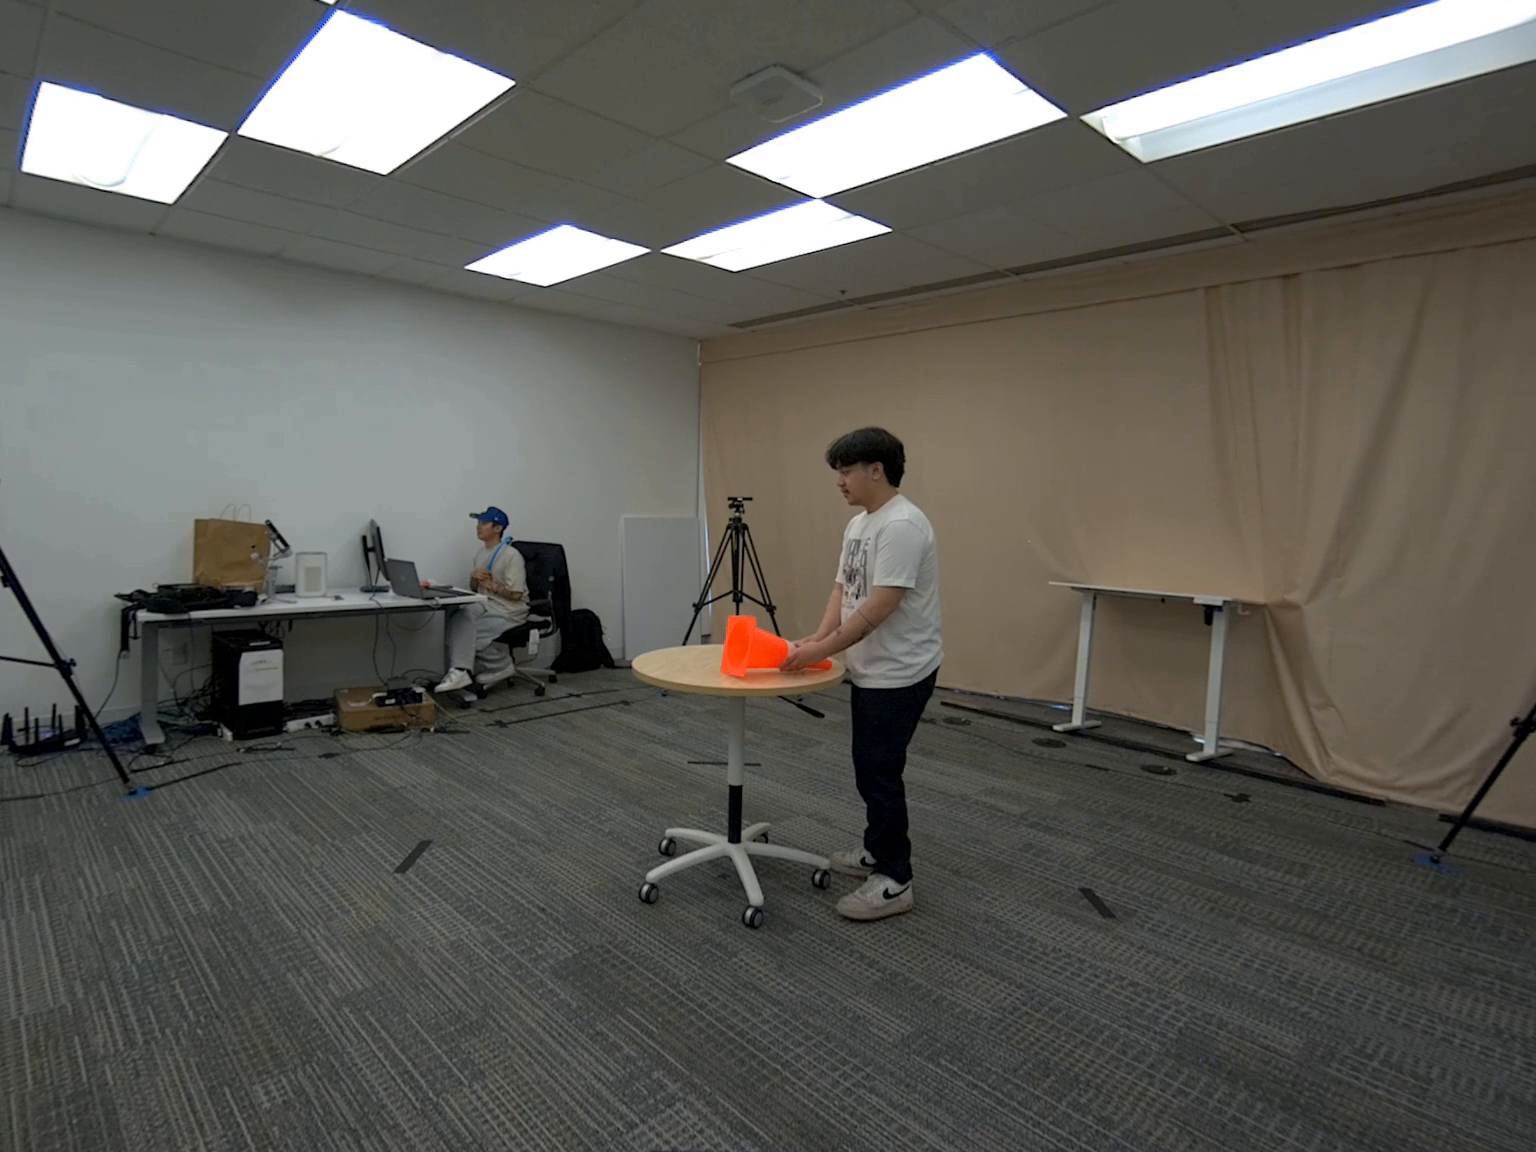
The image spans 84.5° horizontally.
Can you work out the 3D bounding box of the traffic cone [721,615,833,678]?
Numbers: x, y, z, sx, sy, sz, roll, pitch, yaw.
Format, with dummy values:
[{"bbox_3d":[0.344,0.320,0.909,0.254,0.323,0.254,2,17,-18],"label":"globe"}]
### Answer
[{"bbox_3d":[0.058,0.277,2.904,0.375,0.204,0.208,15,-11,-26],"label":"traffic cone"}]
